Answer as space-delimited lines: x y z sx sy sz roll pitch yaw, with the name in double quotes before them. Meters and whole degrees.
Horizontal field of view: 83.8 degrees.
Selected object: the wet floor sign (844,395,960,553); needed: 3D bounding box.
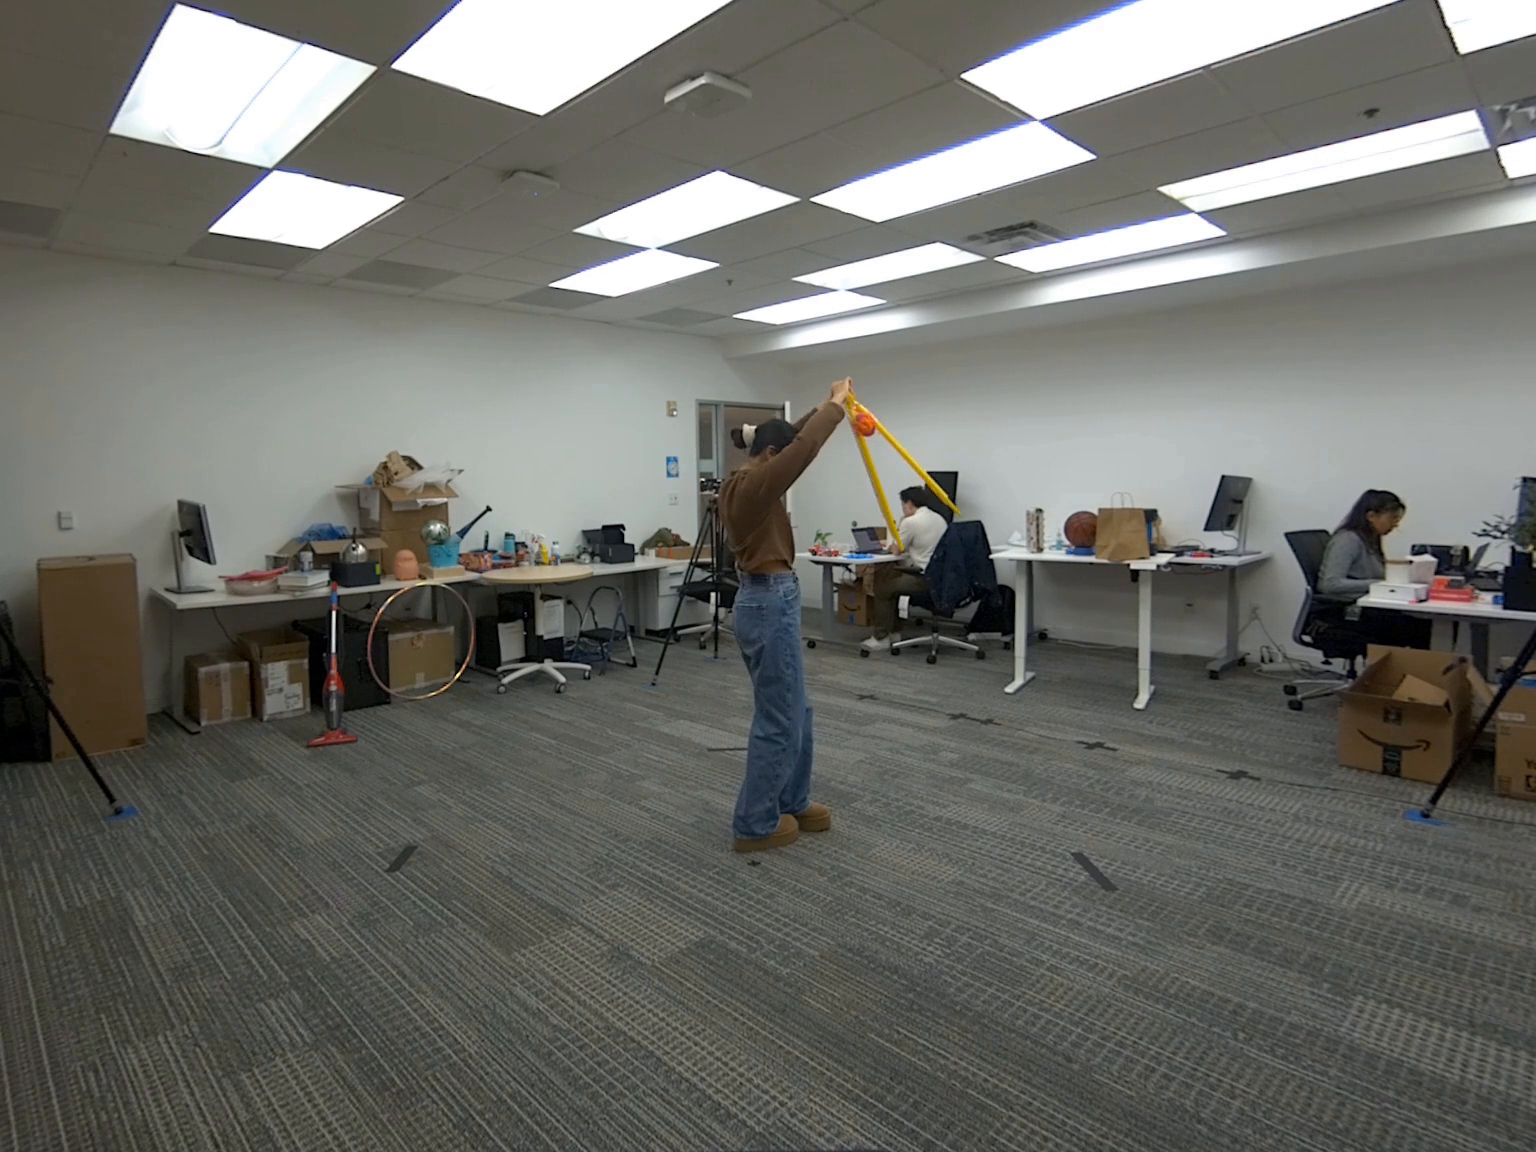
"wet floor sign" 0.459 -0.464 3.373 0.290 0.635 0.286 -30 13 8
